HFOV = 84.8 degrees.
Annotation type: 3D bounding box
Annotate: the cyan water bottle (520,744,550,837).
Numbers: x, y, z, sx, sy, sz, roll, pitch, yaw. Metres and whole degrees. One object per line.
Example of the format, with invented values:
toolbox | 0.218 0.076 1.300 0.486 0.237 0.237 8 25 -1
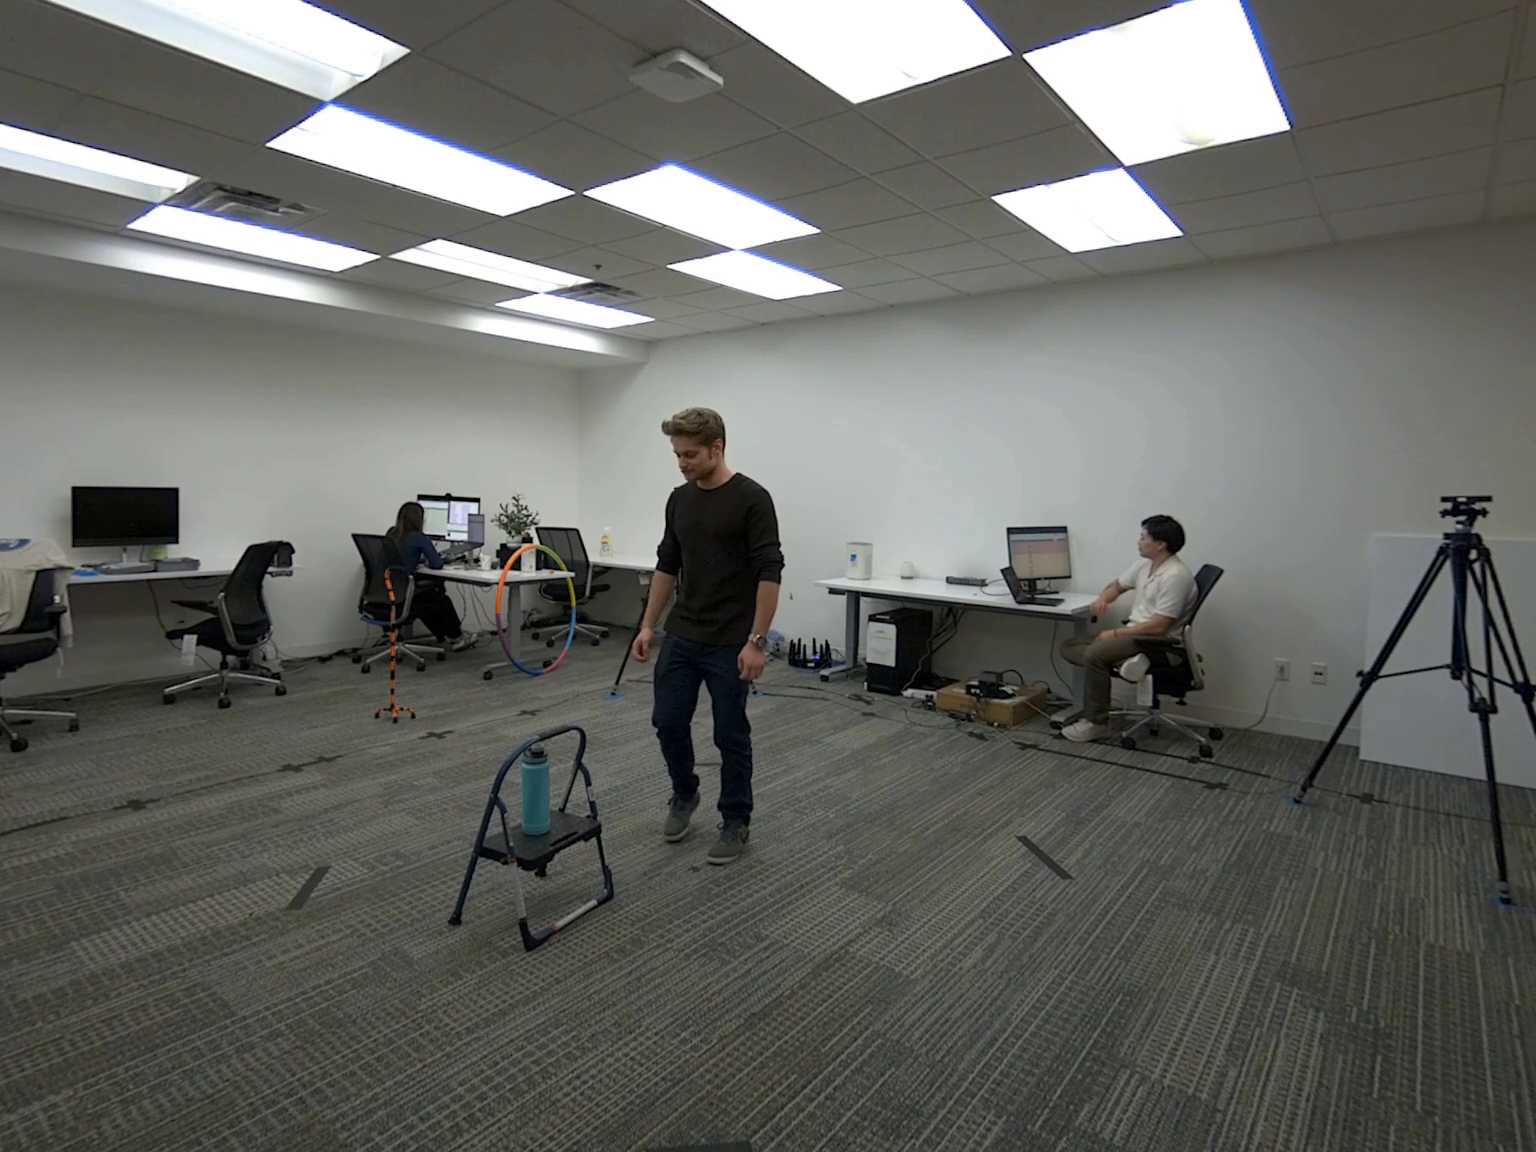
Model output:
cyan water bottle | -0.770 0.691 2.775 0.092 0.283 0.092 -1 2 -2
